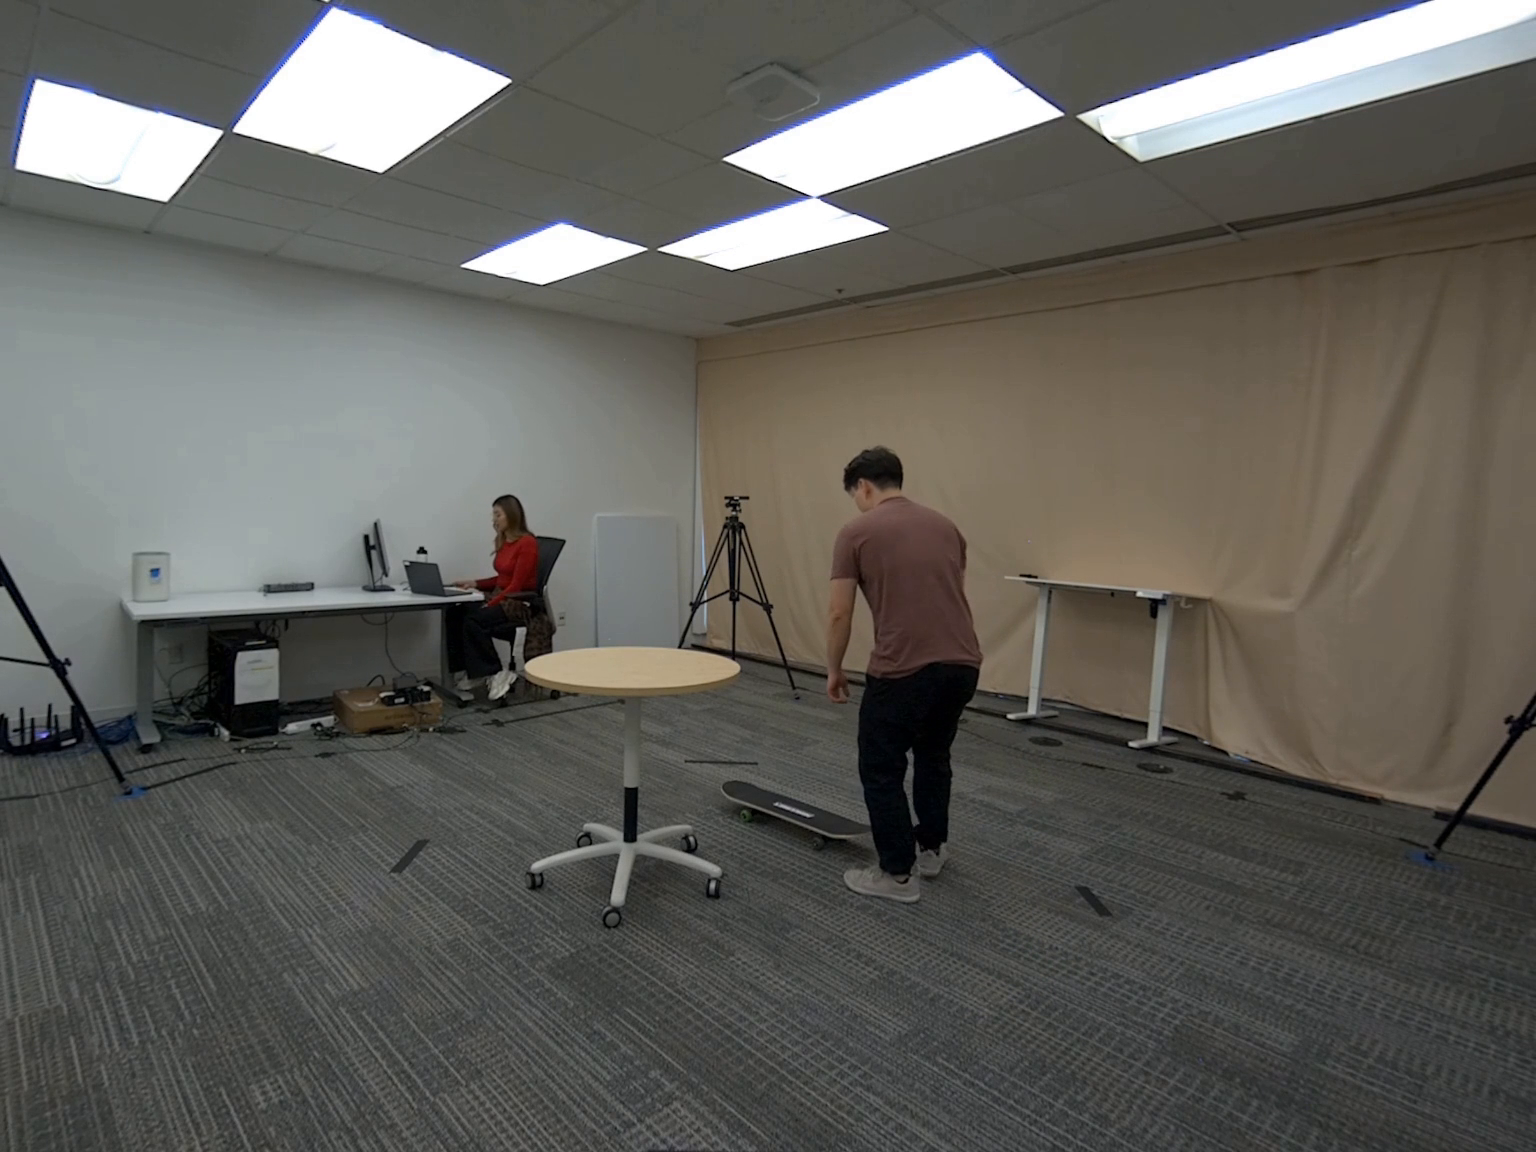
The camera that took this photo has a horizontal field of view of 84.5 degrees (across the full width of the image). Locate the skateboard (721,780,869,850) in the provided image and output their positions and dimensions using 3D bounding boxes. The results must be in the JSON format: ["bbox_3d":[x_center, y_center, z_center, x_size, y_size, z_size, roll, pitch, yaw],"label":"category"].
[{"bbox_3d":[0.095,1.018,3.553,0.806,0.110,0.189,6,6,44],"label":"skateboard"}]
